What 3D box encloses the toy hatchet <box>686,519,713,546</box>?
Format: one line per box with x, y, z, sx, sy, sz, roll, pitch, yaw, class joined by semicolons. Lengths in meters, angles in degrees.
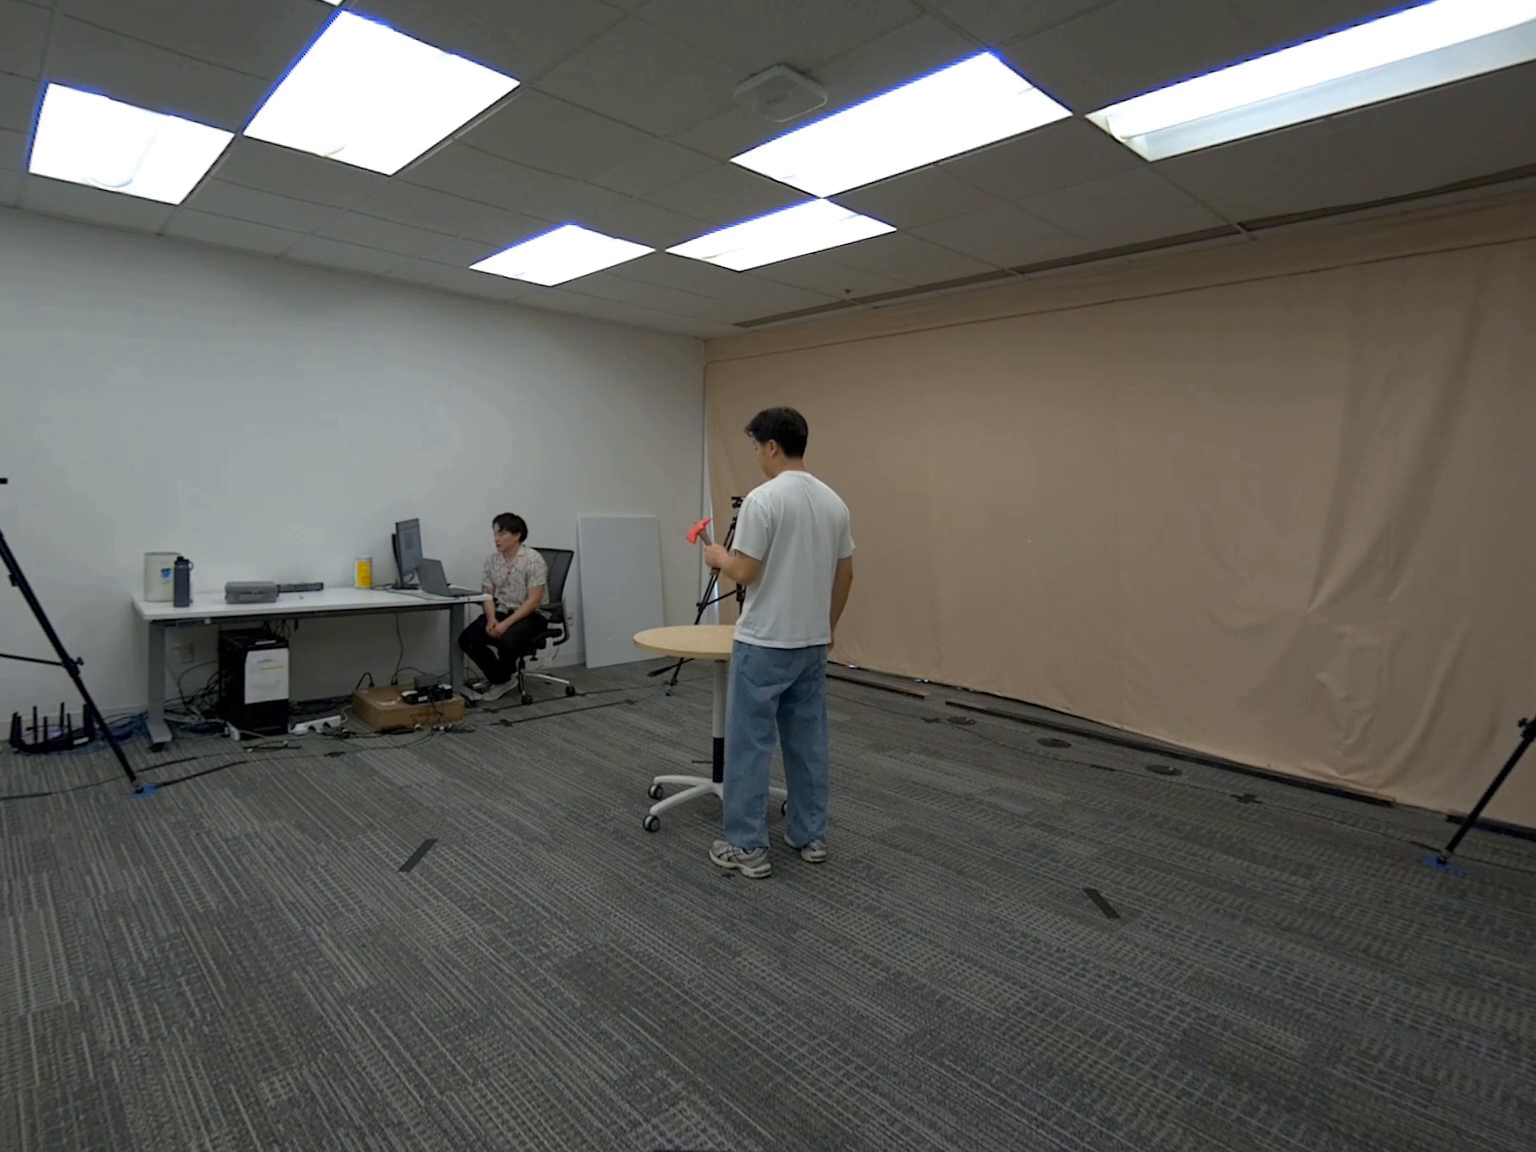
-0.268;-0.107;3.402;0.132;0.276;0.029;-20;-32;16;toy hatchet
